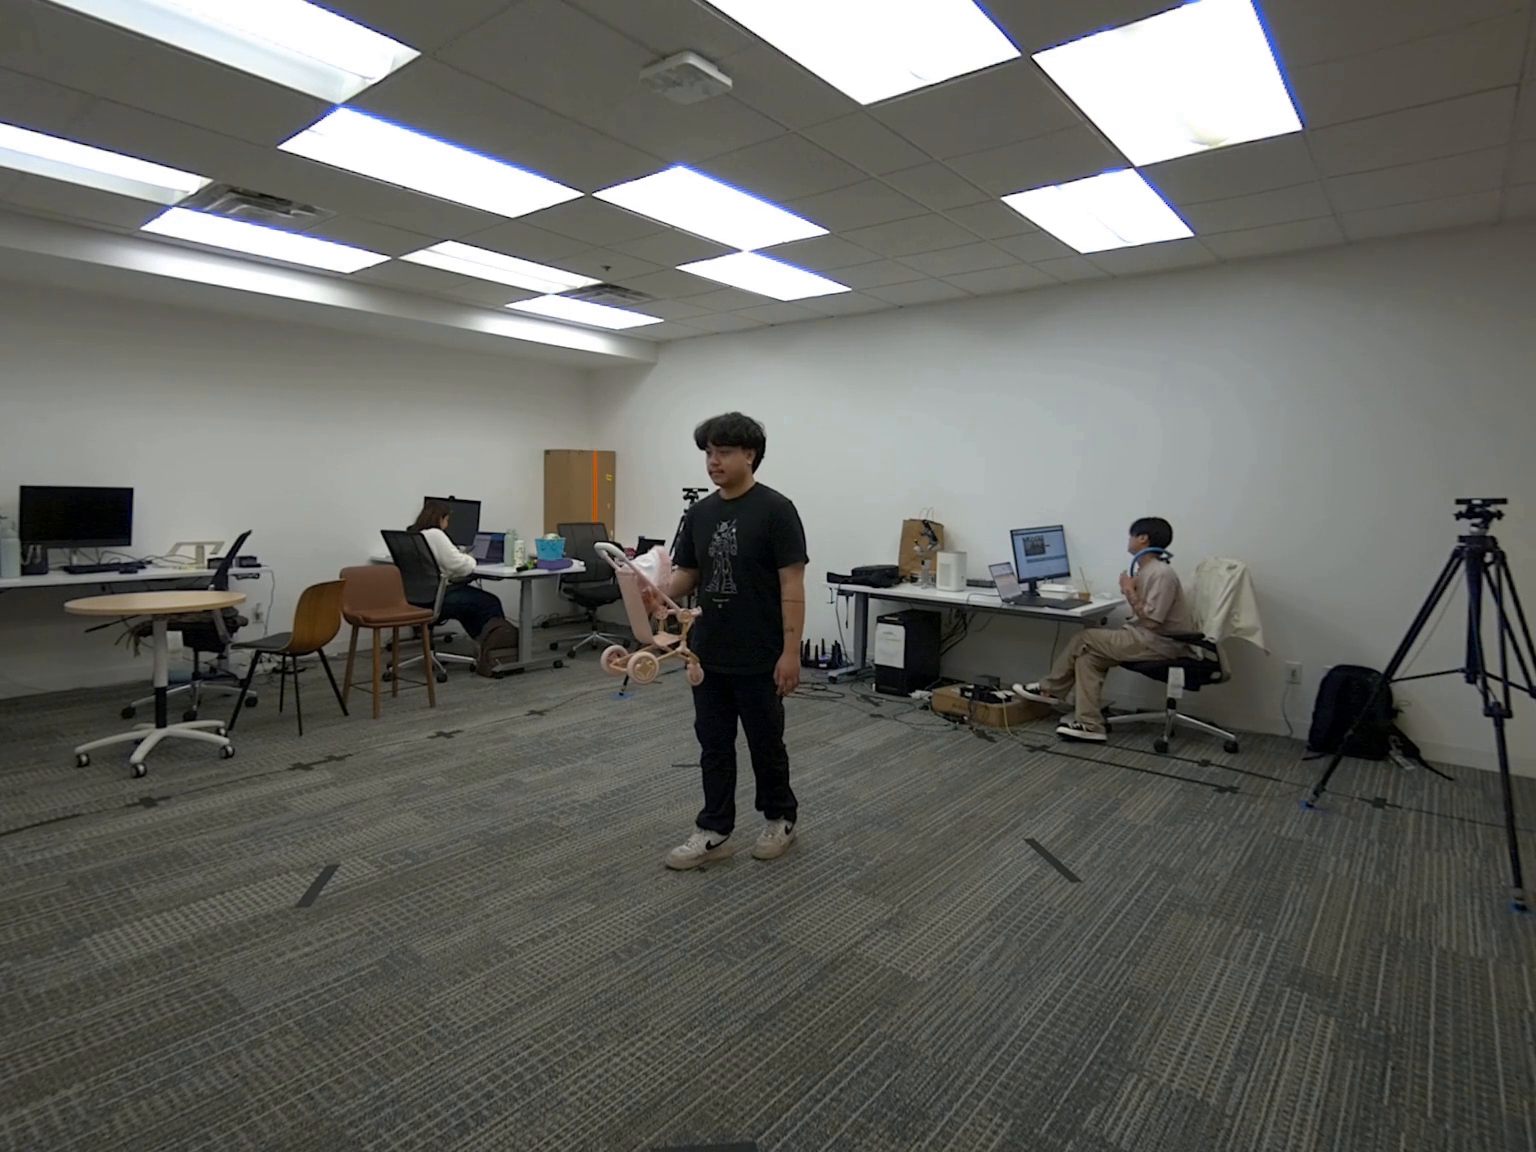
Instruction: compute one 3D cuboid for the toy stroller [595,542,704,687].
[{"bbox_3d":[-0.401,0.135,2.953,0.334,0.535,0.288,-6,1,-25],"label":"toy stroller"}]
